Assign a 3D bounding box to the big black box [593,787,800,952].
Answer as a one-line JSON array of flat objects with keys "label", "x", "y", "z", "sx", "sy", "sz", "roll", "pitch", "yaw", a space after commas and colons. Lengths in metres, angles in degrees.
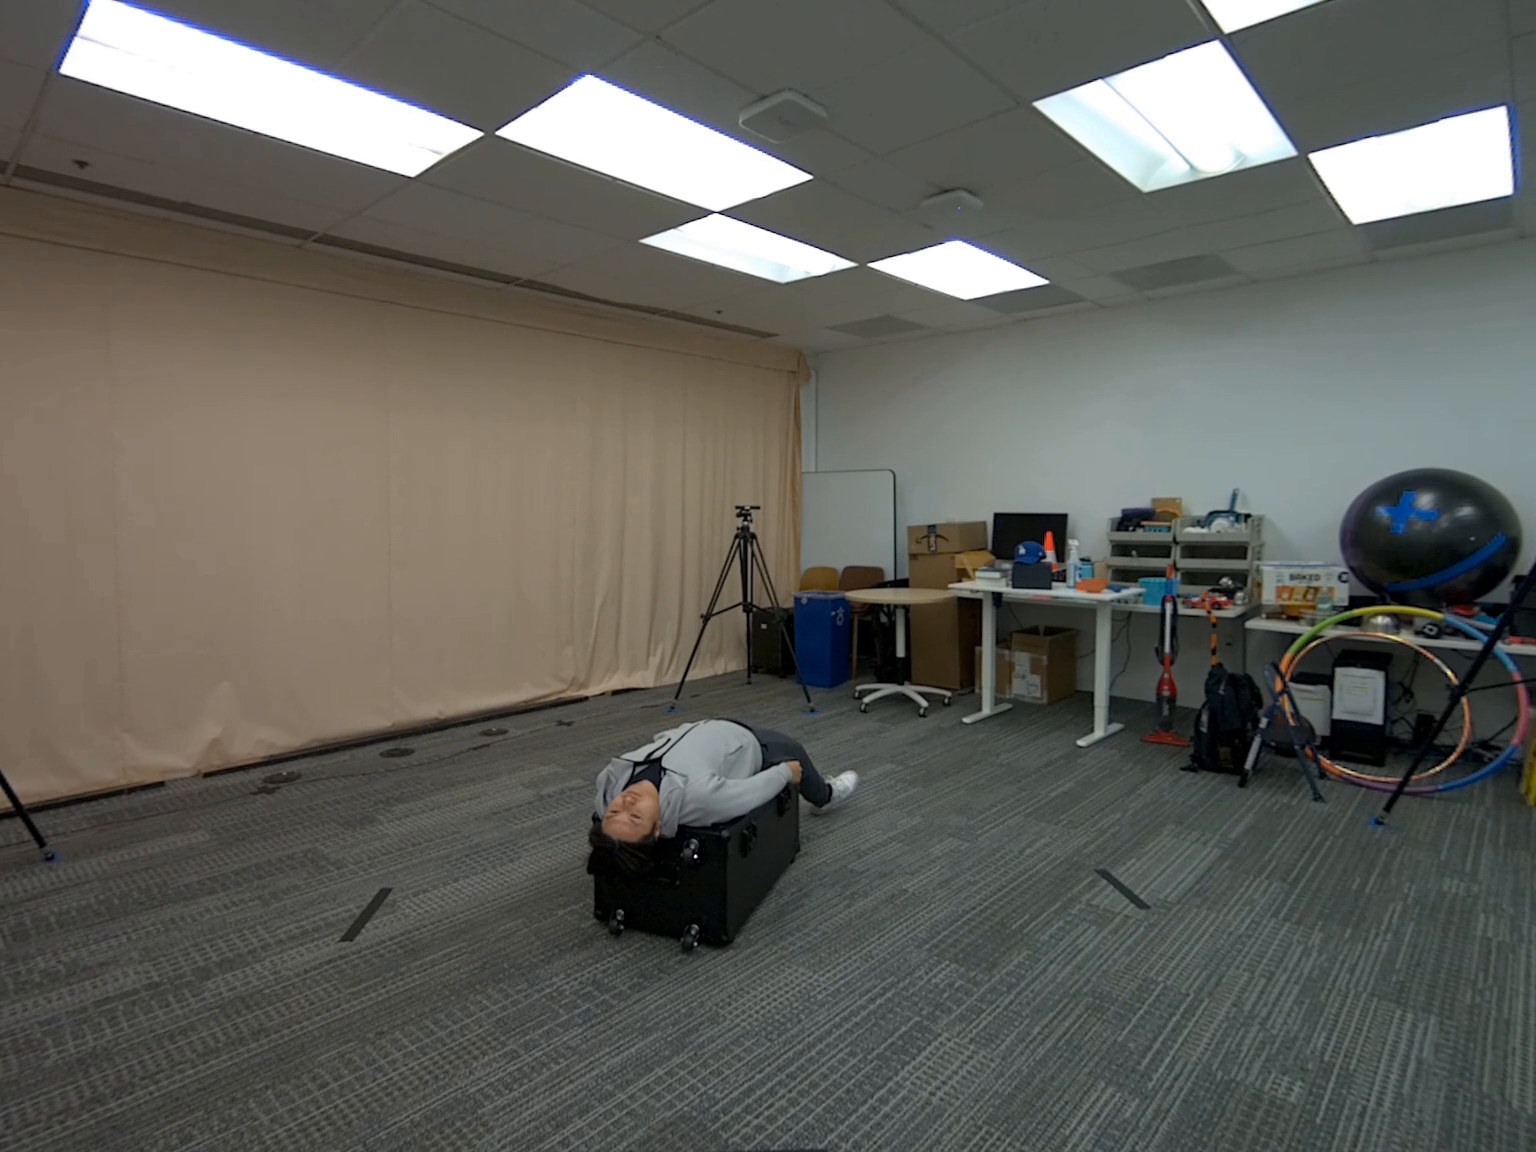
[{"label": "big black box", "x": -0.210, "y": 0.952, "z": 3.088, "sx": 0.533, "sy": 0.395, "sz": 0.844, "roll": 2, "pitch": 5, "yaw": 21}]
